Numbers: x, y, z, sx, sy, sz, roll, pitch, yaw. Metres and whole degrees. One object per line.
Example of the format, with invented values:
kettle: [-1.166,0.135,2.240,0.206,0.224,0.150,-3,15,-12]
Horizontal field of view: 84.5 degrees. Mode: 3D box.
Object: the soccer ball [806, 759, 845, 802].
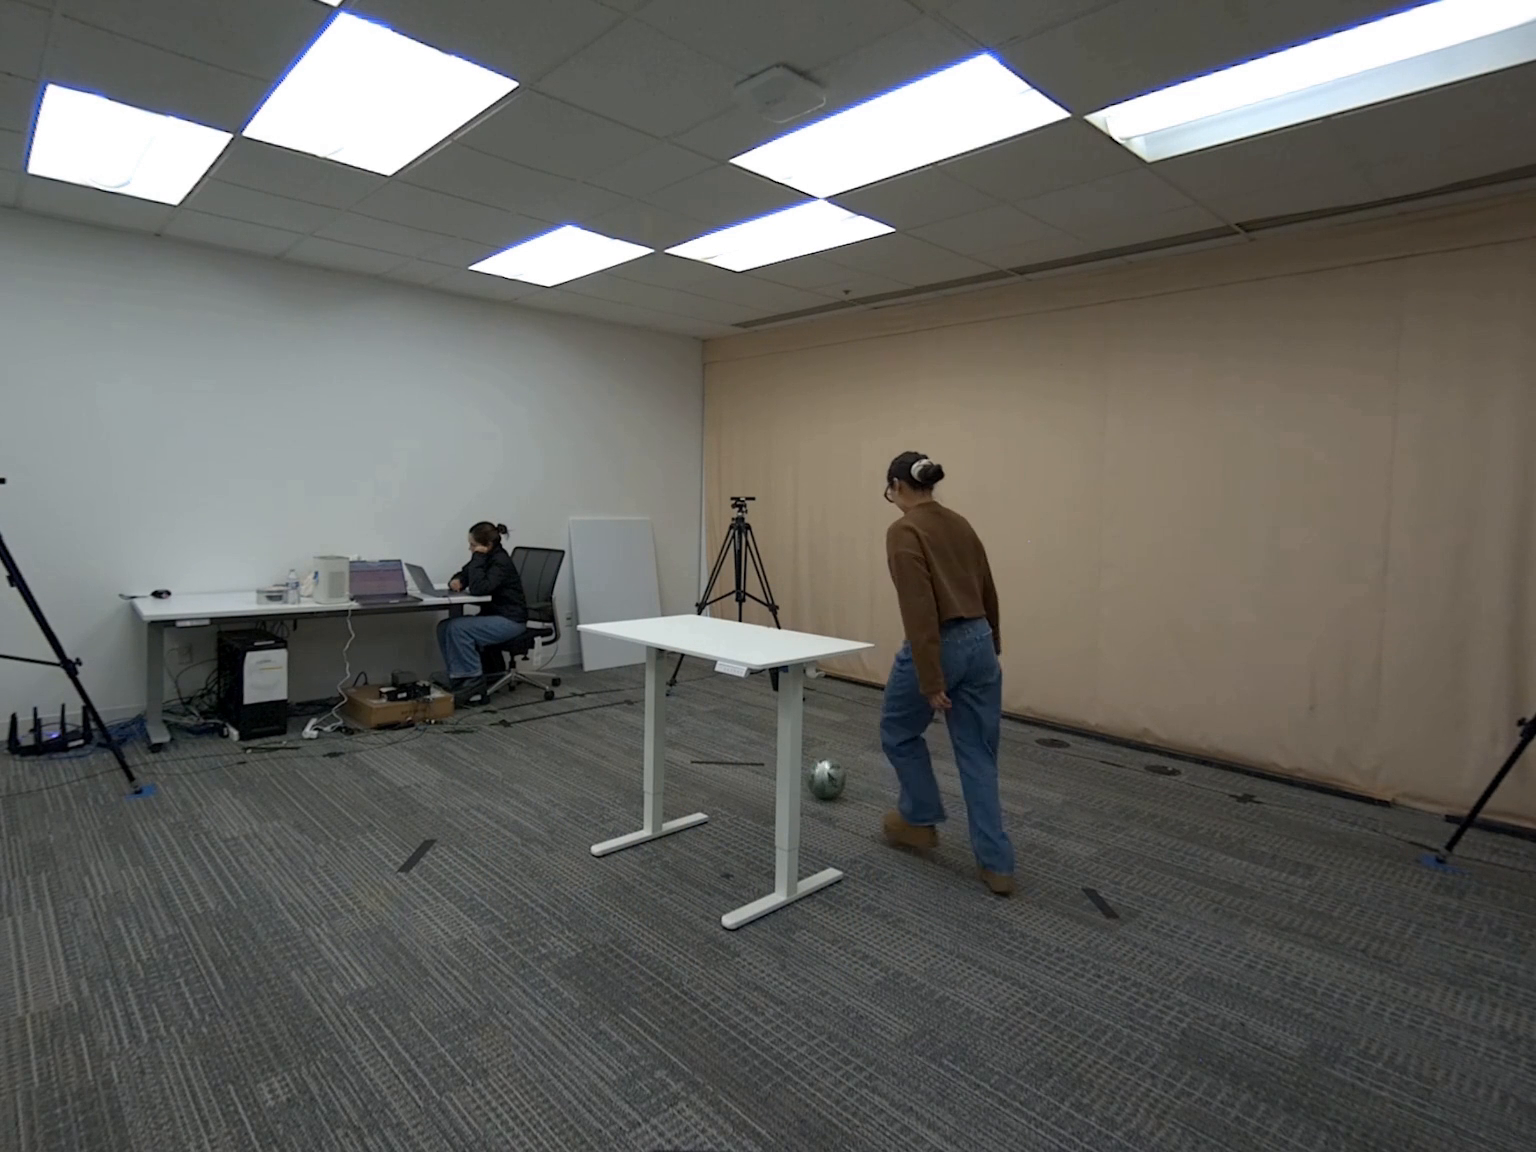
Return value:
soccer ball: [0.263,0.953,3.956,0.187,0.187,0.188,1,4,-1]
